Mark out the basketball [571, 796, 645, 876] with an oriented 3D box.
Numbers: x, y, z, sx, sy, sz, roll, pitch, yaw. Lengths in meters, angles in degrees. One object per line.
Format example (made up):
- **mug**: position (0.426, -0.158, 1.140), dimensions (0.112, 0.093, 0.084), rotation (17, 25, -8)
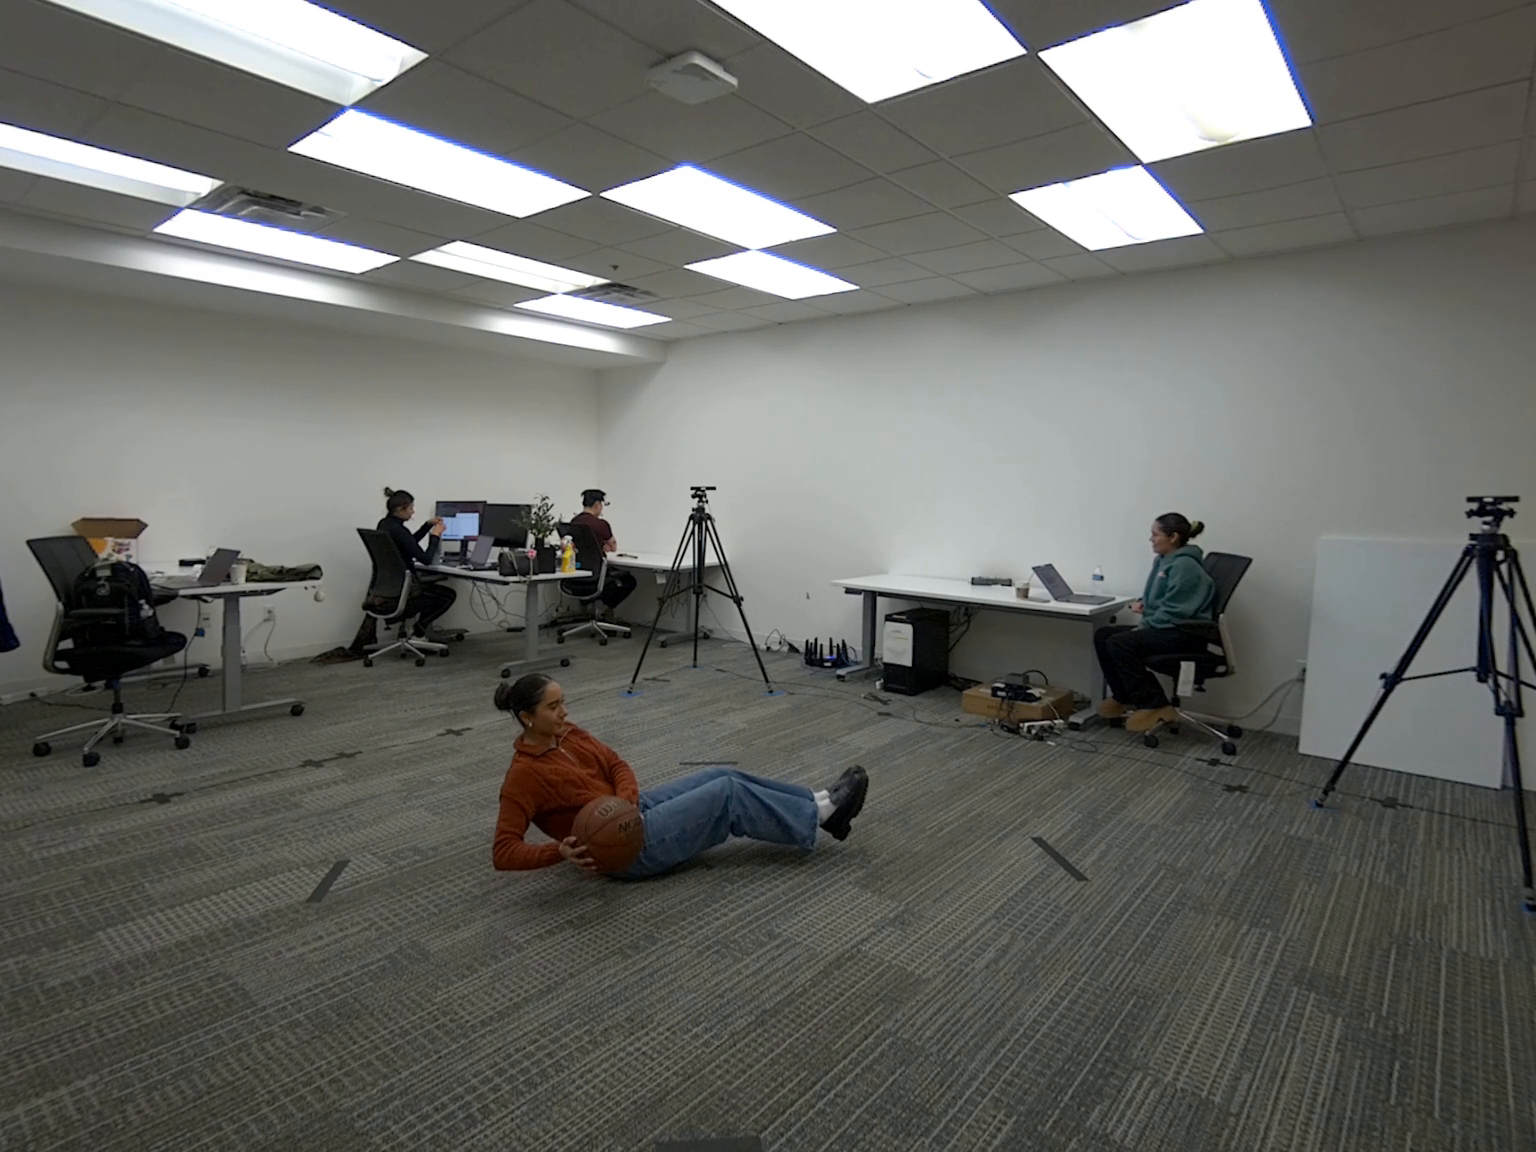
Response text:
- **basketball**: position (-0.515, 0.839, 2.760), dimensions (0.235, 0.235, 0.237), rotation (1, 4, -2)
